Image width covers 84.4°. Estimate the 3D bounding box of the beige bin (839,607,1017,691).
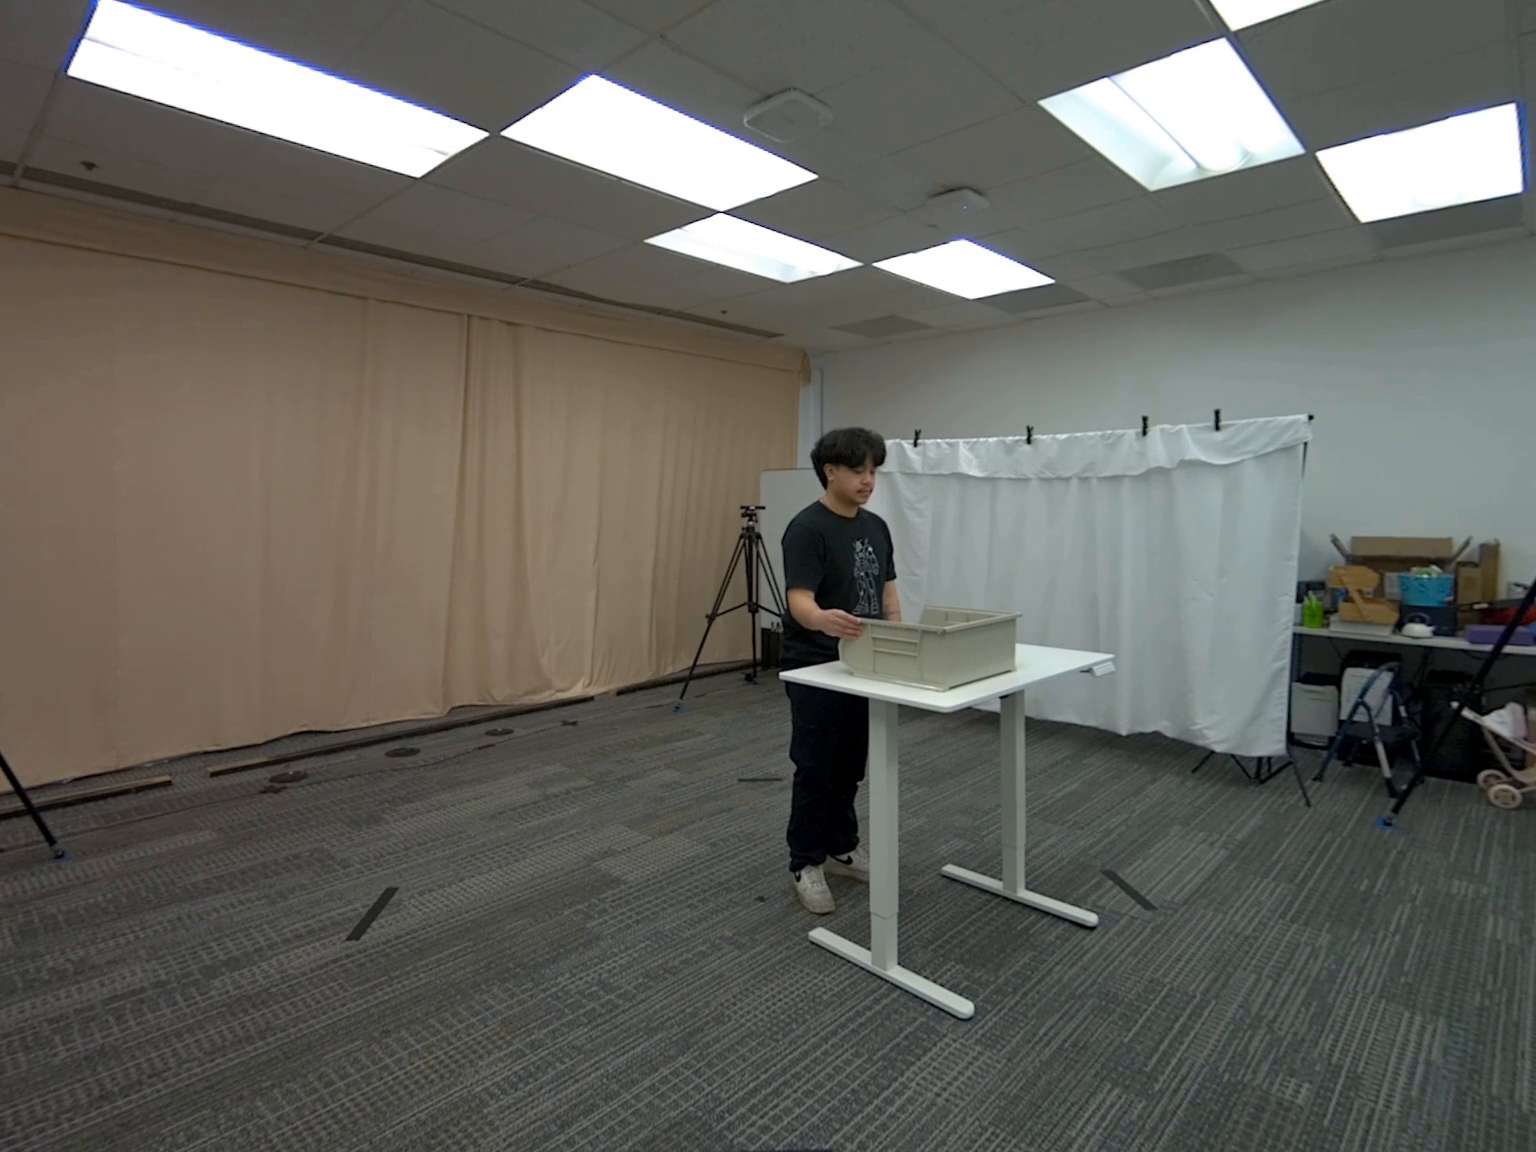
[{"bbox_3d":[0.494,0.210,2.564,0.409,0.188,0.390,-4,6,-44],"label":"beige bin"}]
